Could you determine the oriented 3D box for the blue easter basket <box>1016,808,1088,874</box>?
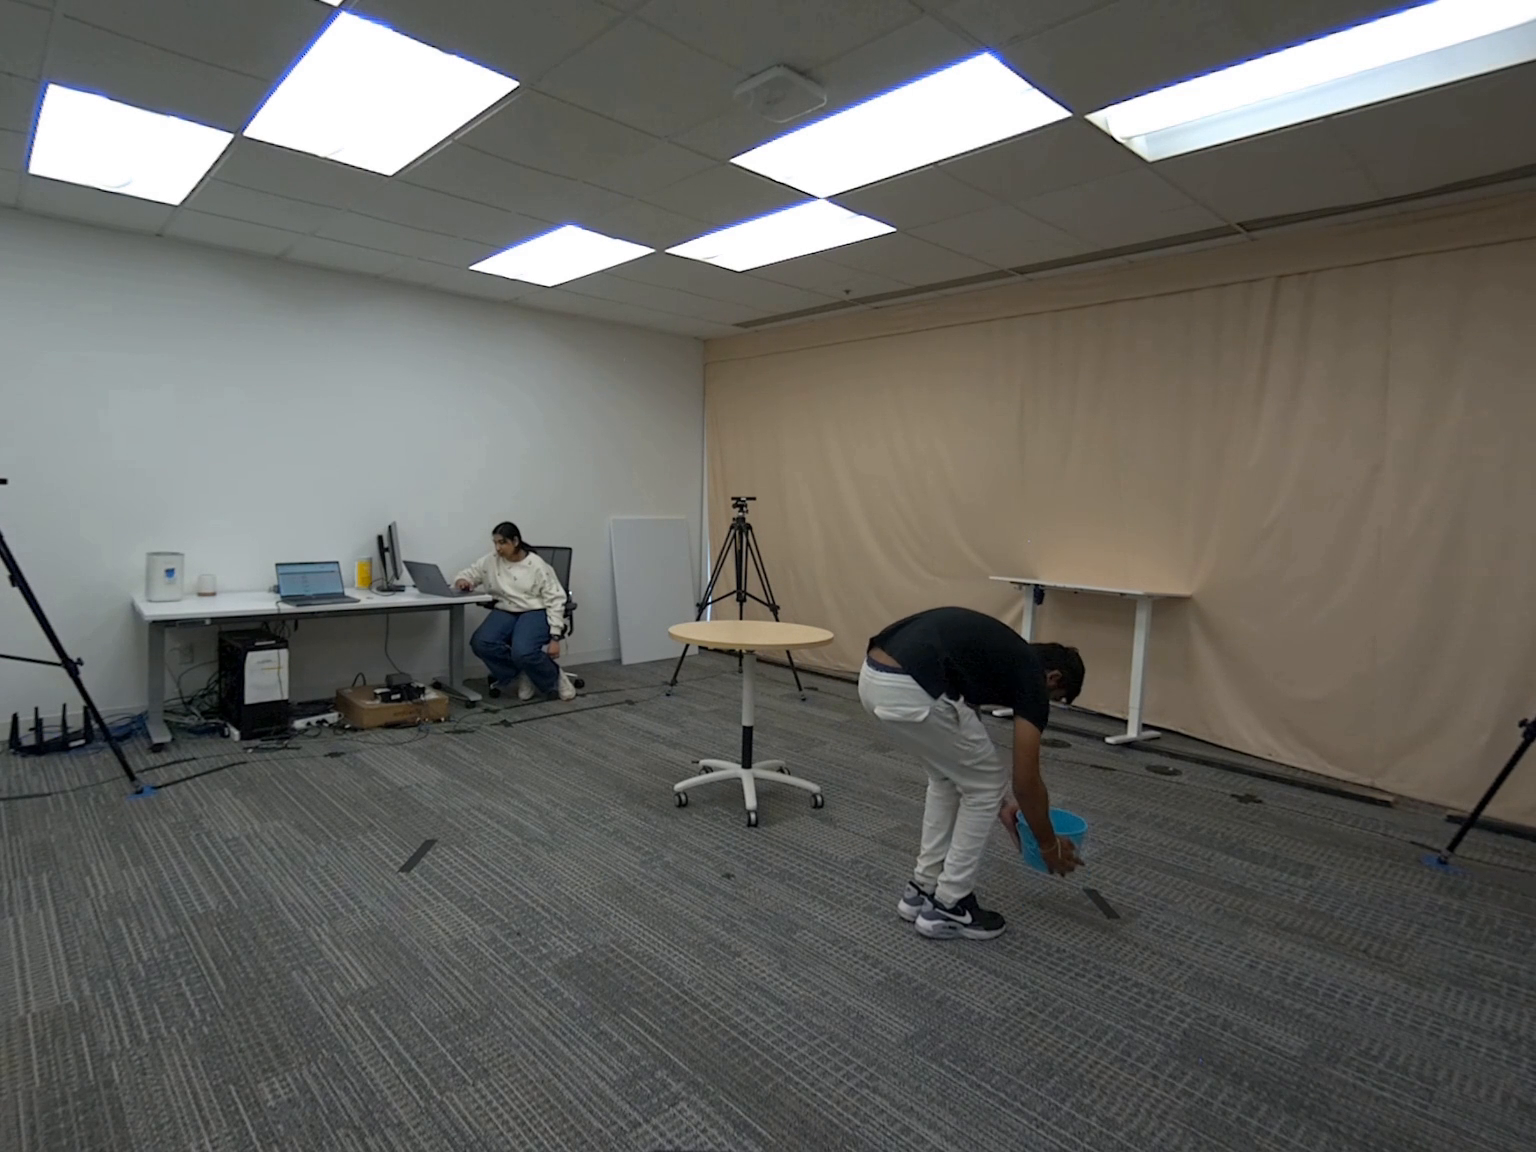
[{"bbox_3d":[0.972,0.917,2.922,0.243,0.155,0.244,1,5,-1],"label":"blue easter basket"}]
